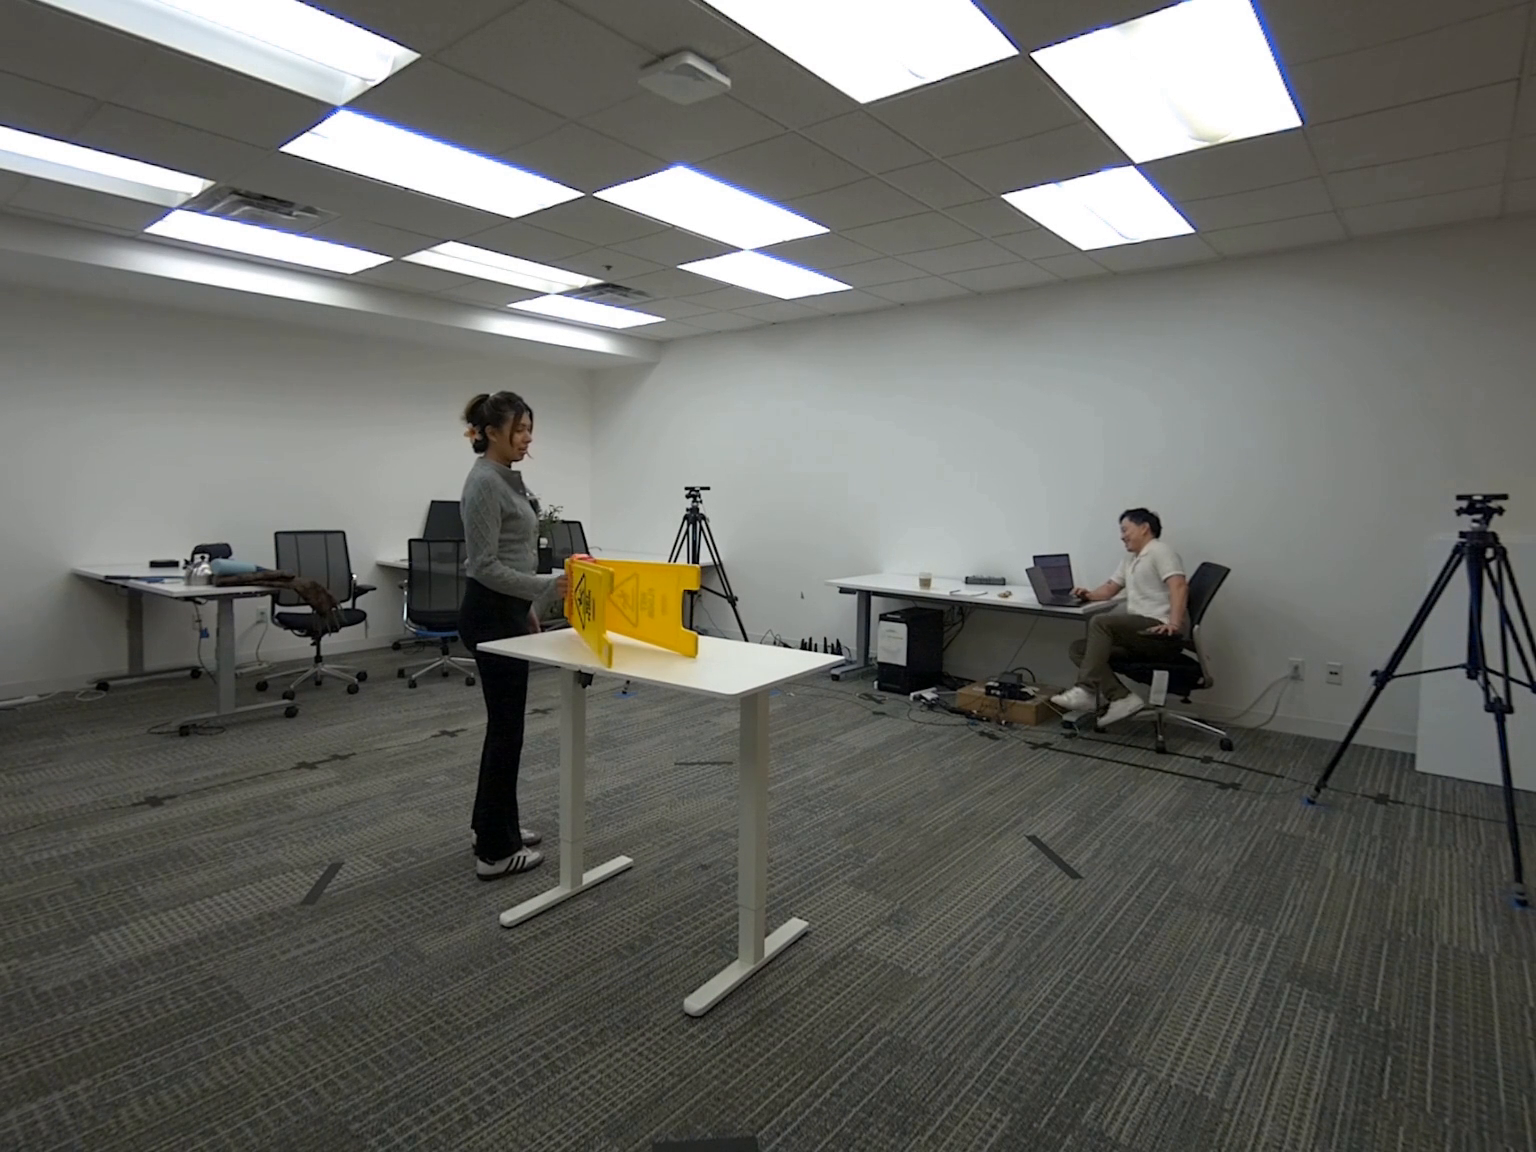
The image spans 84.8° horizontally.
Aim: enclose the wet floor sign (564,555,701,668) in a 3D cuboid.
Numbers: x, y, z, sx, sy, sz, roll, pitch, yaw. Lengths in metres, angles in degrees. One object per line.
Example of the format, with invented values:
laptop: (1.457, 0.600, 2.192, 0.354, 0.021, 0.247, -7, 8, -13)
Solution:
wet floor sign: (-0.525, 0.075, 2.710, 0.281, 0.281, 0.668, -2, 8, -36)
